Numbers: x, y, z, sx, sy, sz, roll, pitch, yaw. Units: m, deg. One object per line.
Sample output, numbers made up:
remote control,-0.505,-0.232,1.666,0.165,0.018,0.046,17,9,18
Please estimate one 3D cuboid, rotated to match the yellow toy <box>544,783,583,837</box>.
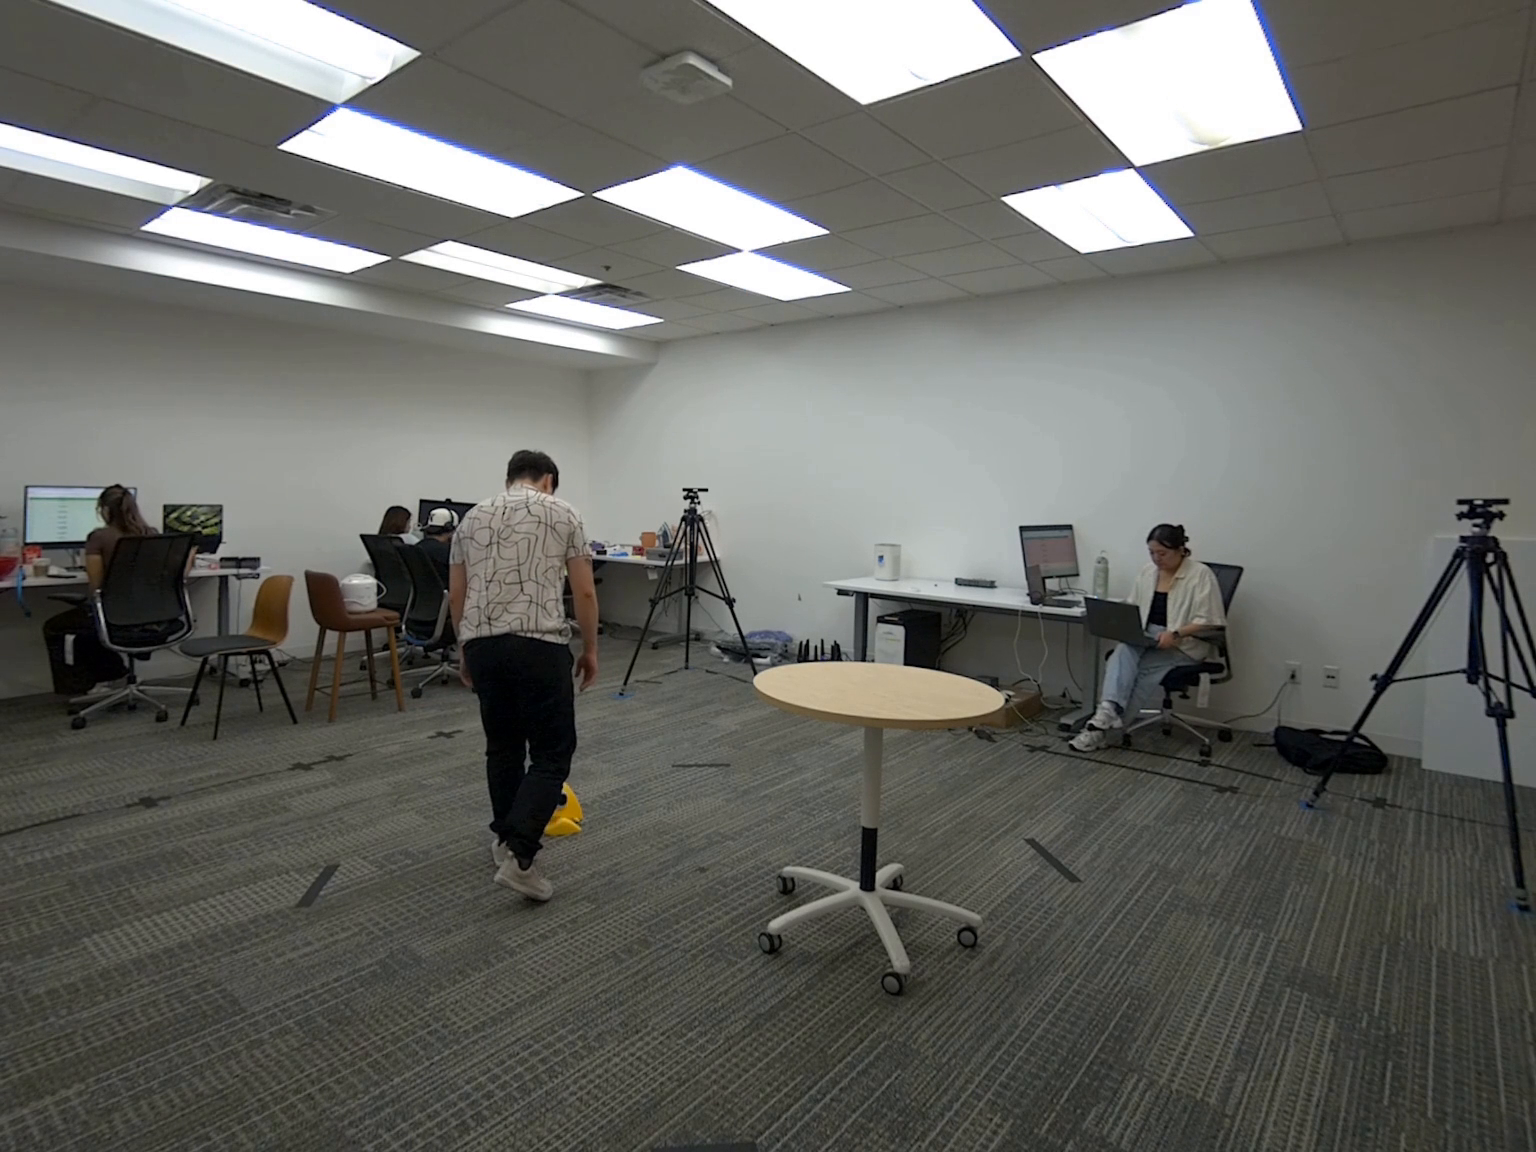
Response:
yellow toy,-0.869,0.912,3.496,0.191,0.230,0.207,0,4,-9
